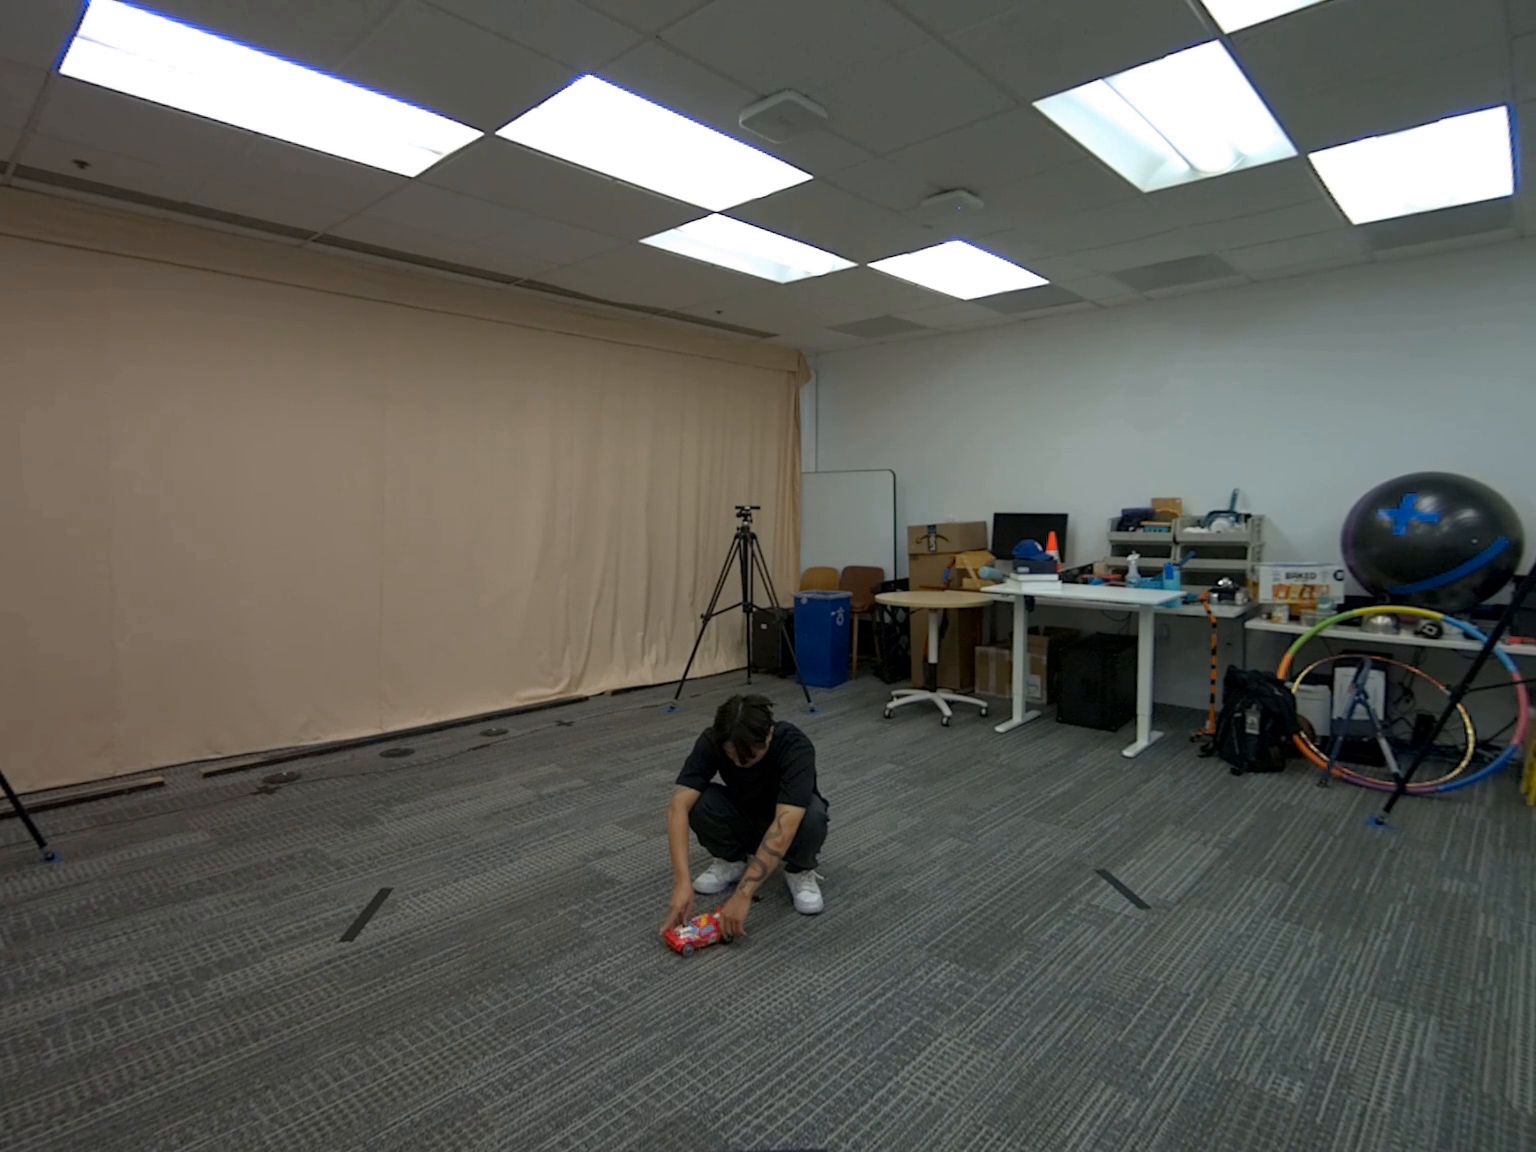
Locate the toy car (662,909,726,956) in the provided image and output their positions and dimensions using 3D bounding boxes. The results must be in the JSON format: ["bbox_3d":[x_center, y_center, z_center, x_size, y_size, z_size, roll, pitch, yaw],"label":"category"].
[{"bbox_3d":[-0.201,1.133,2.694,0.249,0.082,0.134,-16,12,-31],"label":"toy car"}]
